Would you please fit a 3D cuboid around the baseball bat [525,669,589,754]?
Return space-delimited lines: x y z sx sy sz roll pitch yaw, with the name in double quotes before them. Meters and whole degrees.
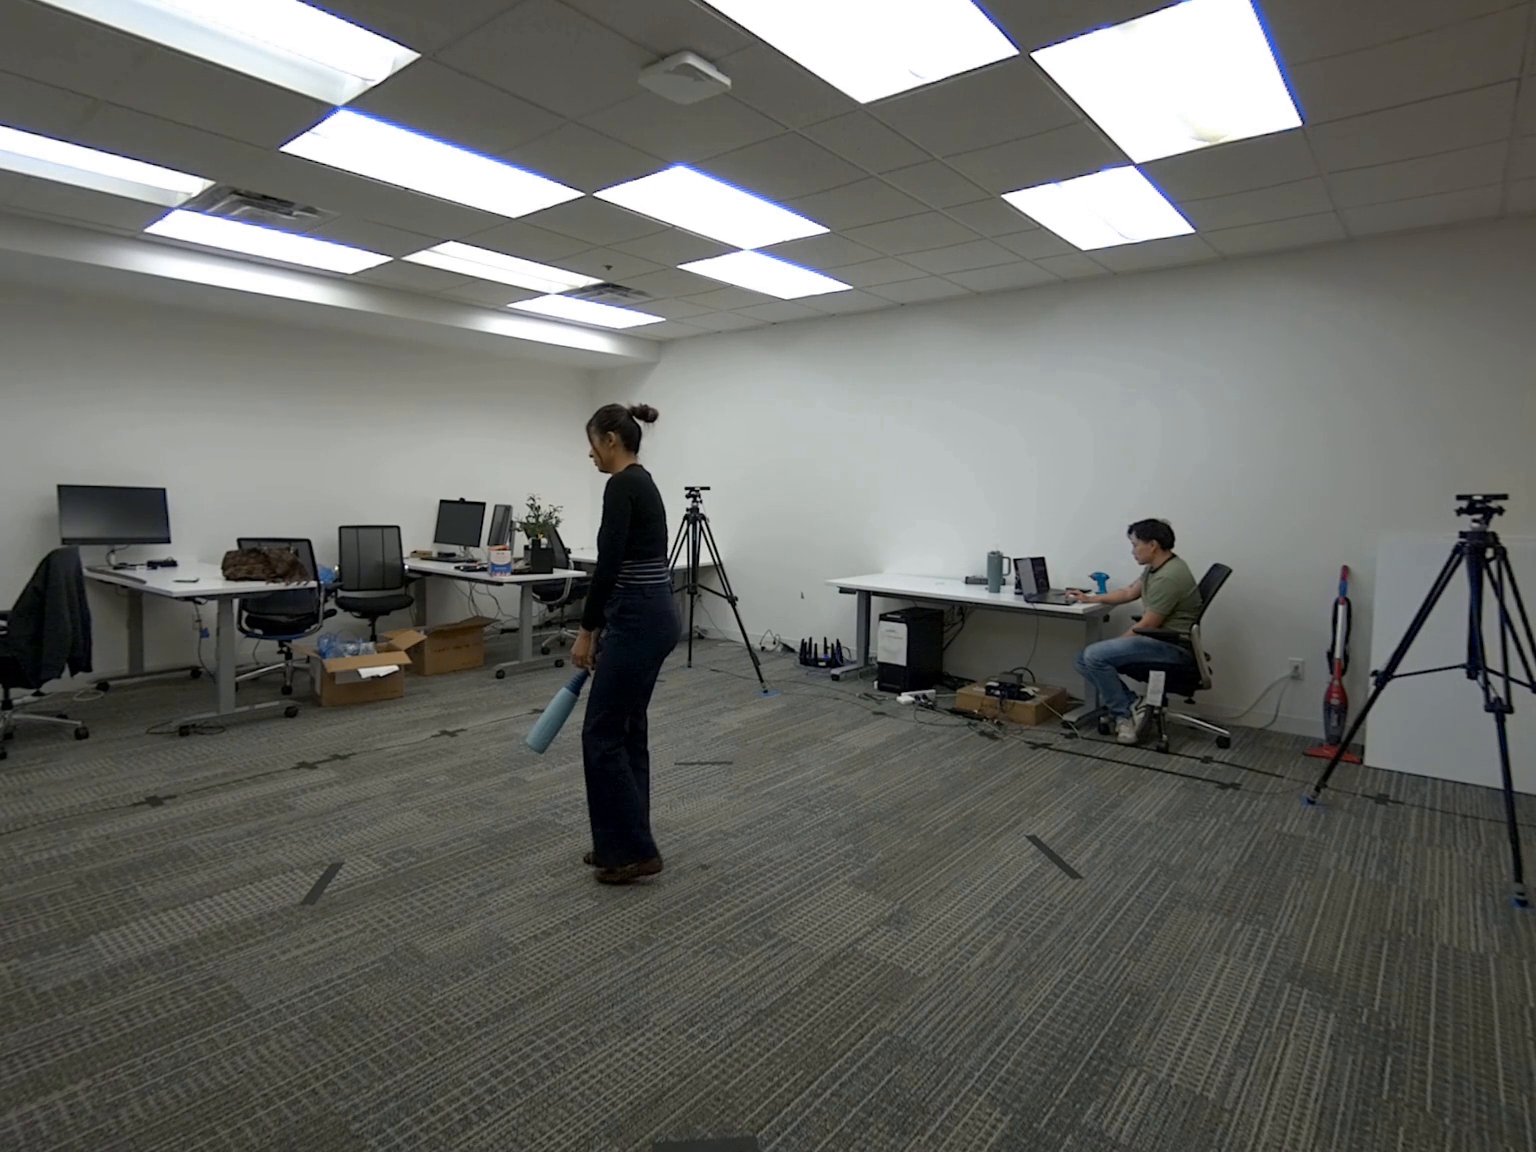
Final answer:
"baseball bat" -0.744 0.418 3.215 0.090 0.544 0.088 33 -12 6
